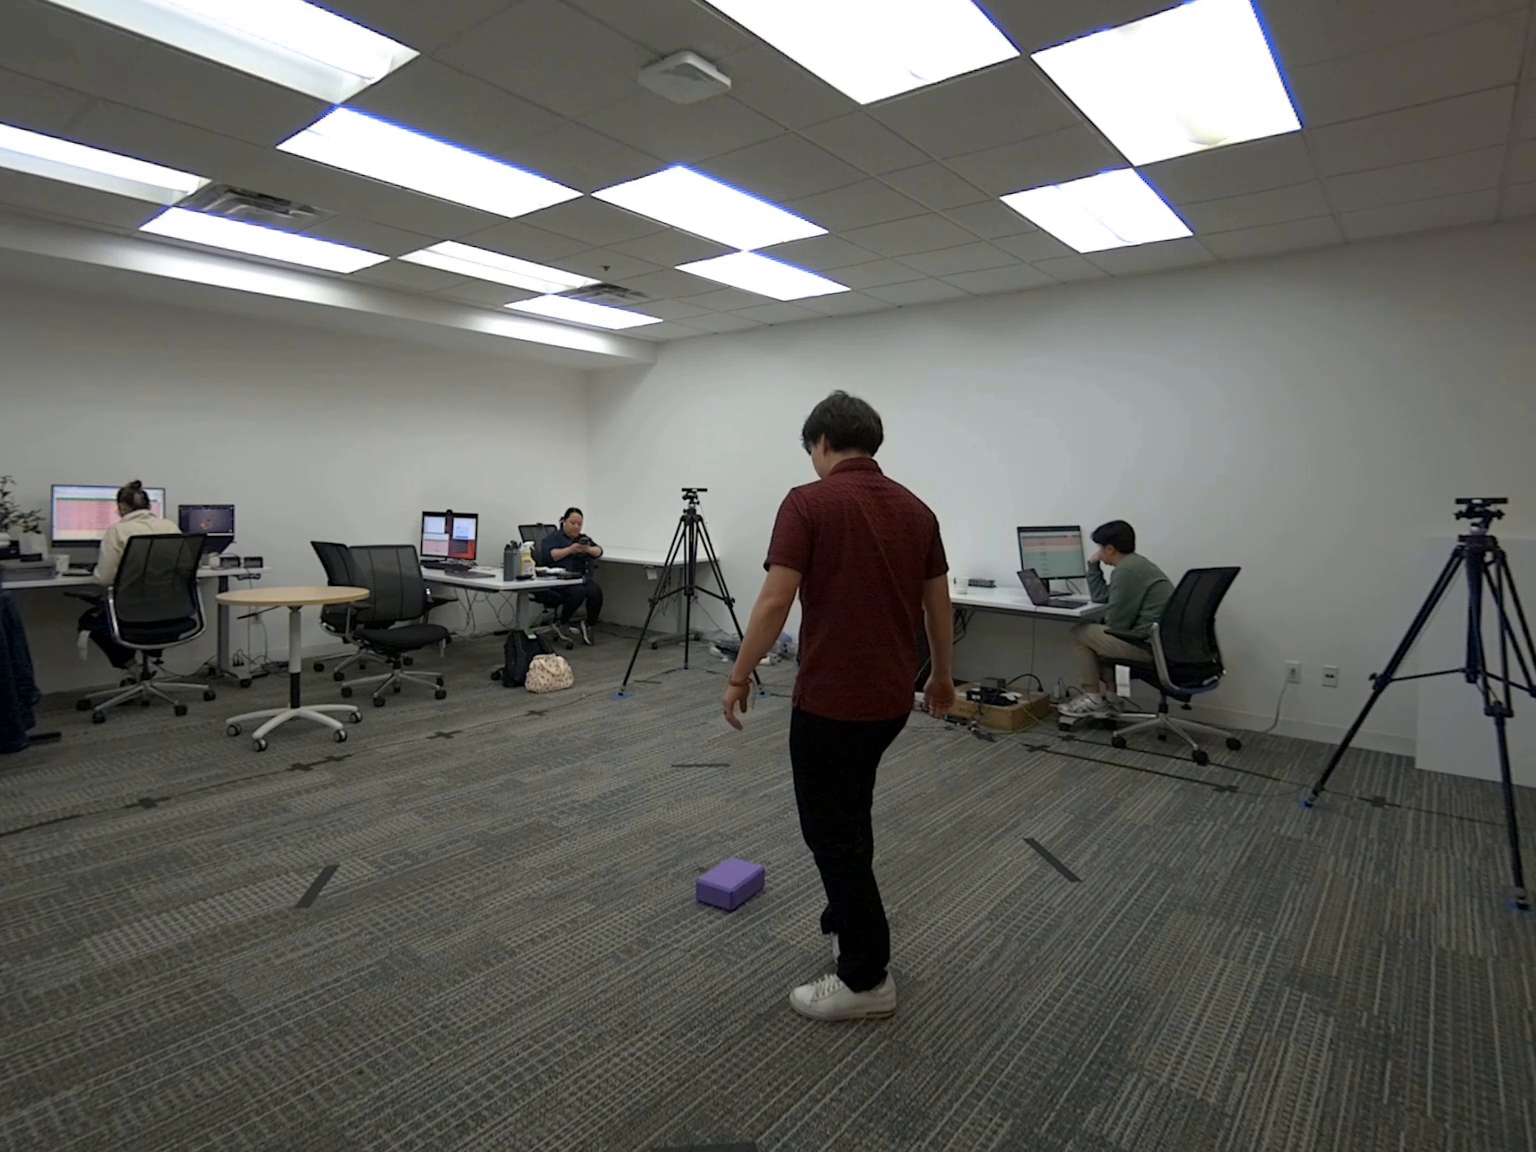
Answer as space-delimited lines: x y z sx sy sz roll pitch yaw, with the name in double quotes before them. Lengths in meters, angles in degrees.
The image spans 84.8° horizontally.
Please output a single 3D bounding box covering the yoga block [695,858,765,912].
"yoga block" -0.136 1.050 2.914 0.153 0.076 0.223 3 5 30
